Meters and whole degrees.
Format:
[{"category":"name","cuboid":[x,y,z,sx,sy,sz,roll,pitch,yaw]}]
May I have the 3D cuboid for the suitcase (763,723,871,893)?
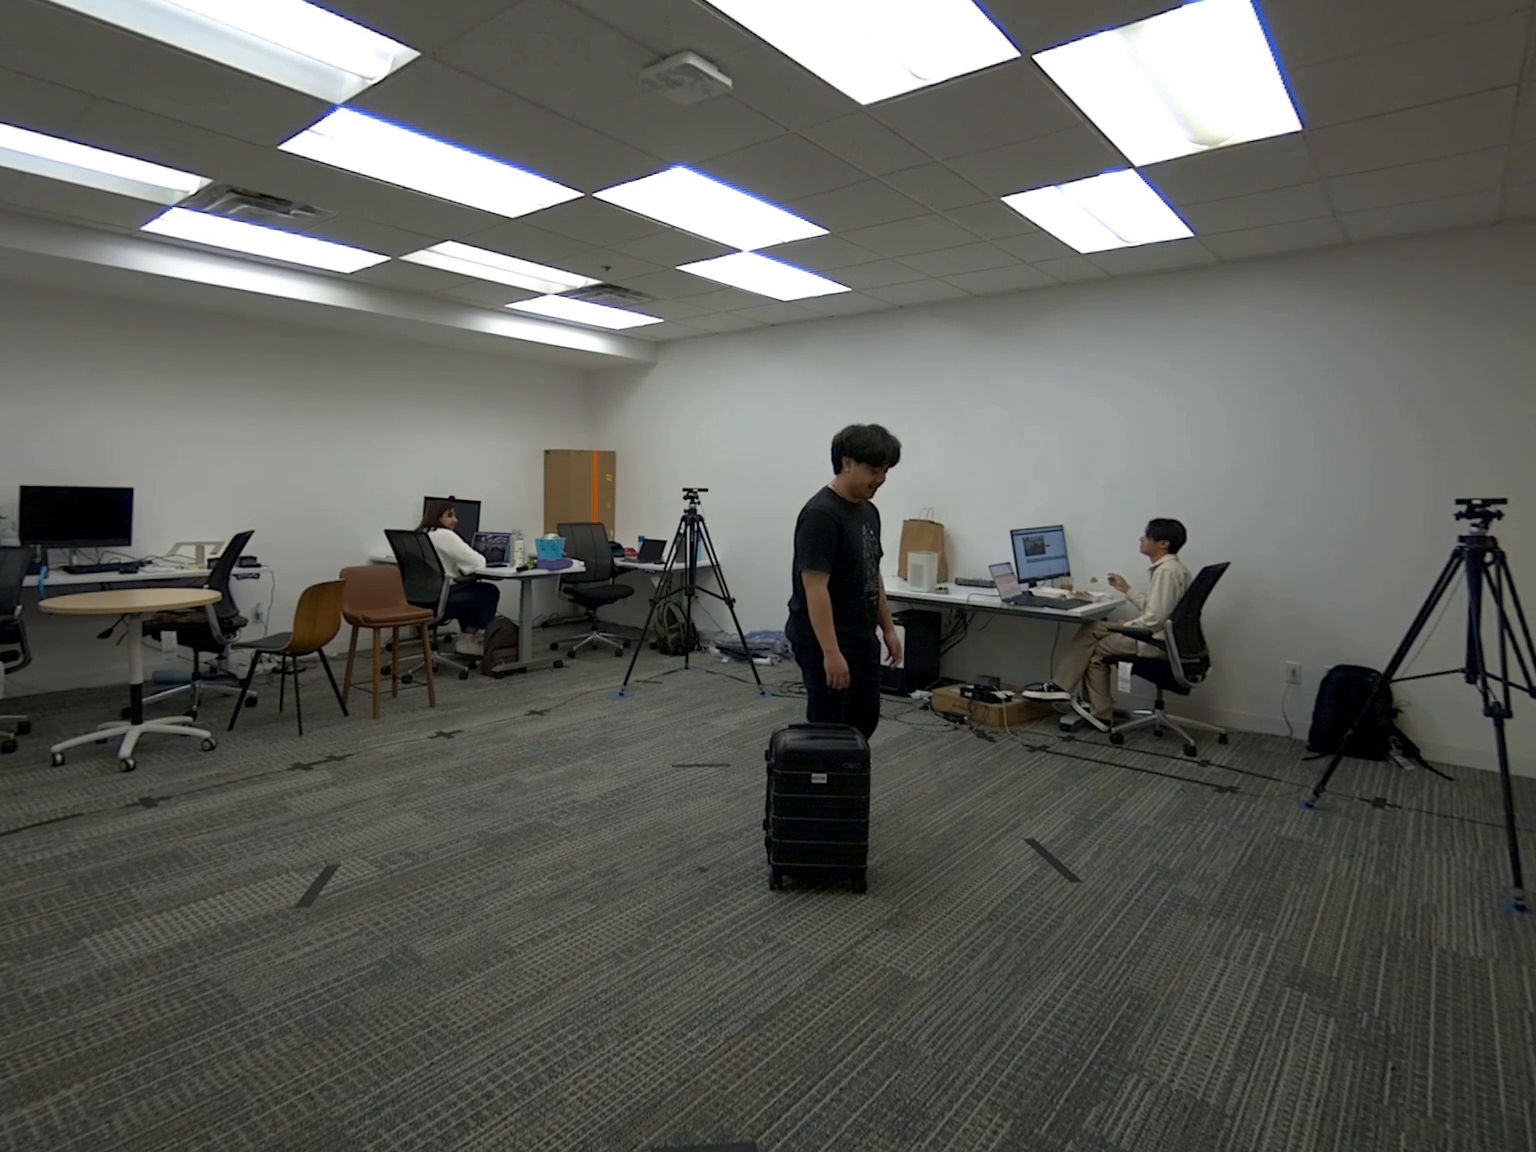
[{"category":"suitcase","cuboid":[0.171,0.805,3.044,0.375,0.547,0.249,2,4,-2]}]
